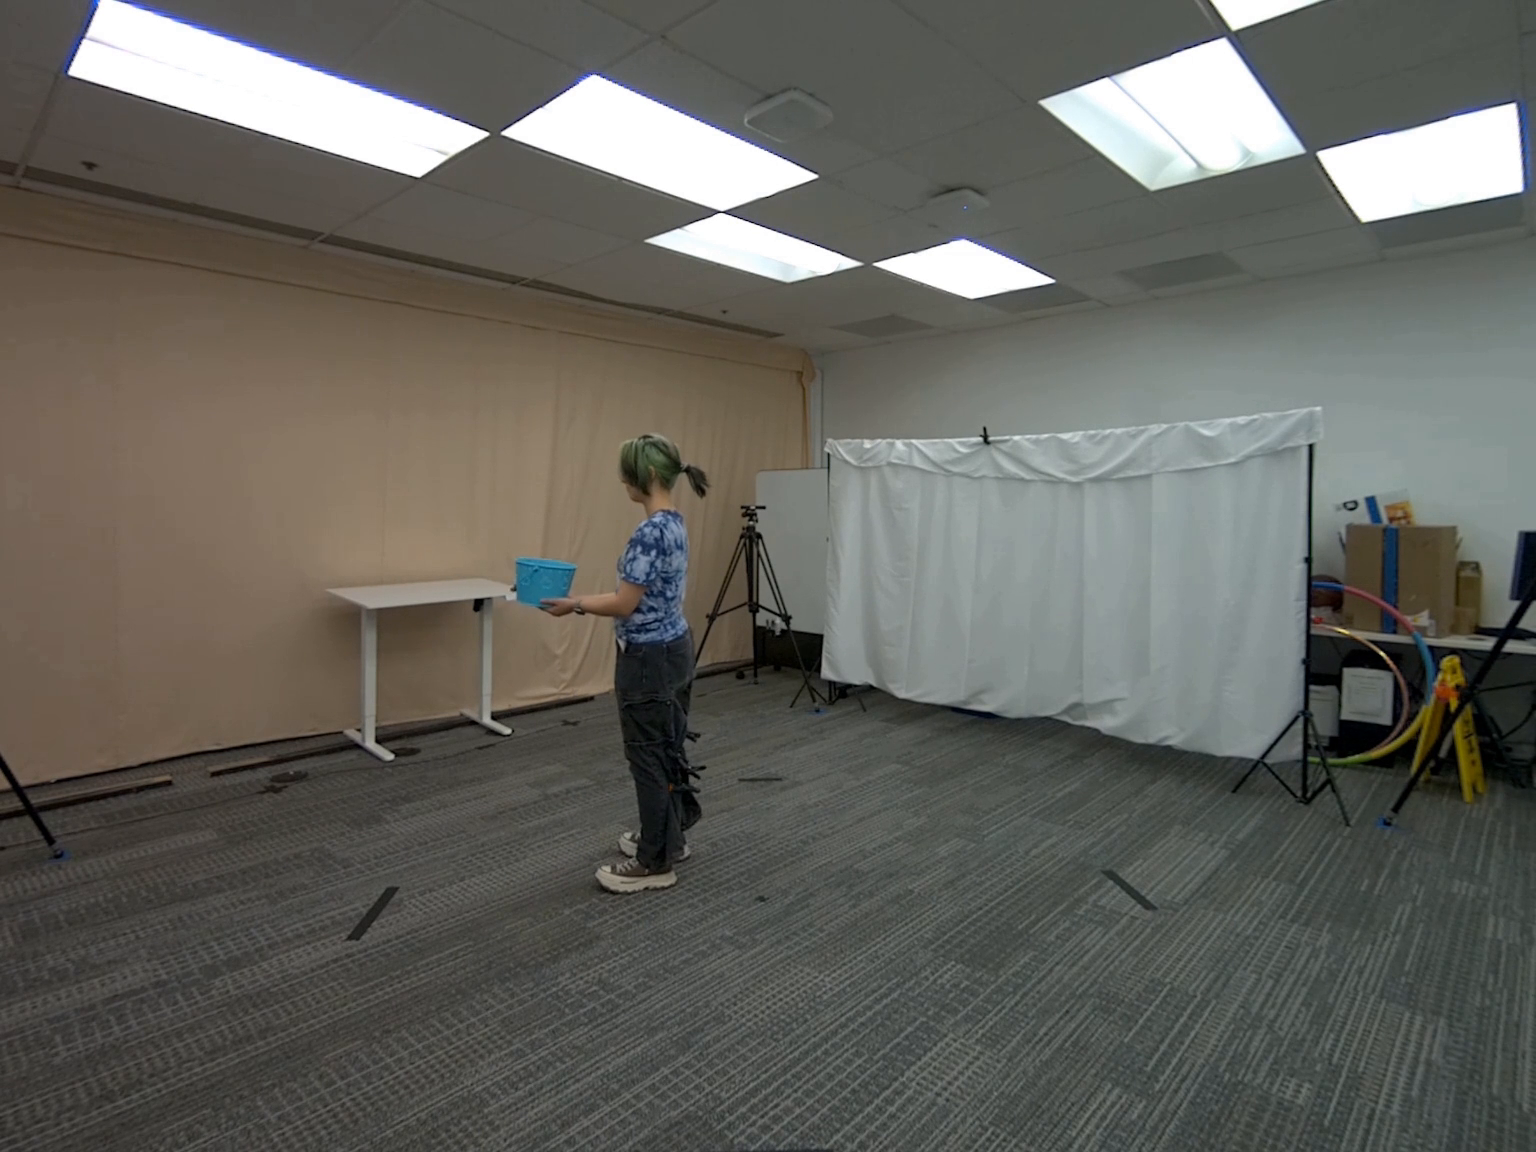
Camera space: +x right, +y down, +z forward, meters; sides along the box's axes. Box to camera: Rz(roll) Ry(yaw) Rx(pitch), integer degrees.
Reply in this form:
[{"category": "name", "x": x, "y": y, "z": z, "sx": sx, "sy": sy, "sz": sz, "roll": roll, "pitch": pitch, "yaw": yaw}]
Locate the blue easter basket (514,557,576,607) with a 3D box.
[{"category": "blue easter basket", "x": -0.840, "y": 0.026, "z": 3.145, "sx": 0.243, "sy": 0.155, "sz": 0.245, "roll": 6, "pitch": 7, "yaw": -3}]
